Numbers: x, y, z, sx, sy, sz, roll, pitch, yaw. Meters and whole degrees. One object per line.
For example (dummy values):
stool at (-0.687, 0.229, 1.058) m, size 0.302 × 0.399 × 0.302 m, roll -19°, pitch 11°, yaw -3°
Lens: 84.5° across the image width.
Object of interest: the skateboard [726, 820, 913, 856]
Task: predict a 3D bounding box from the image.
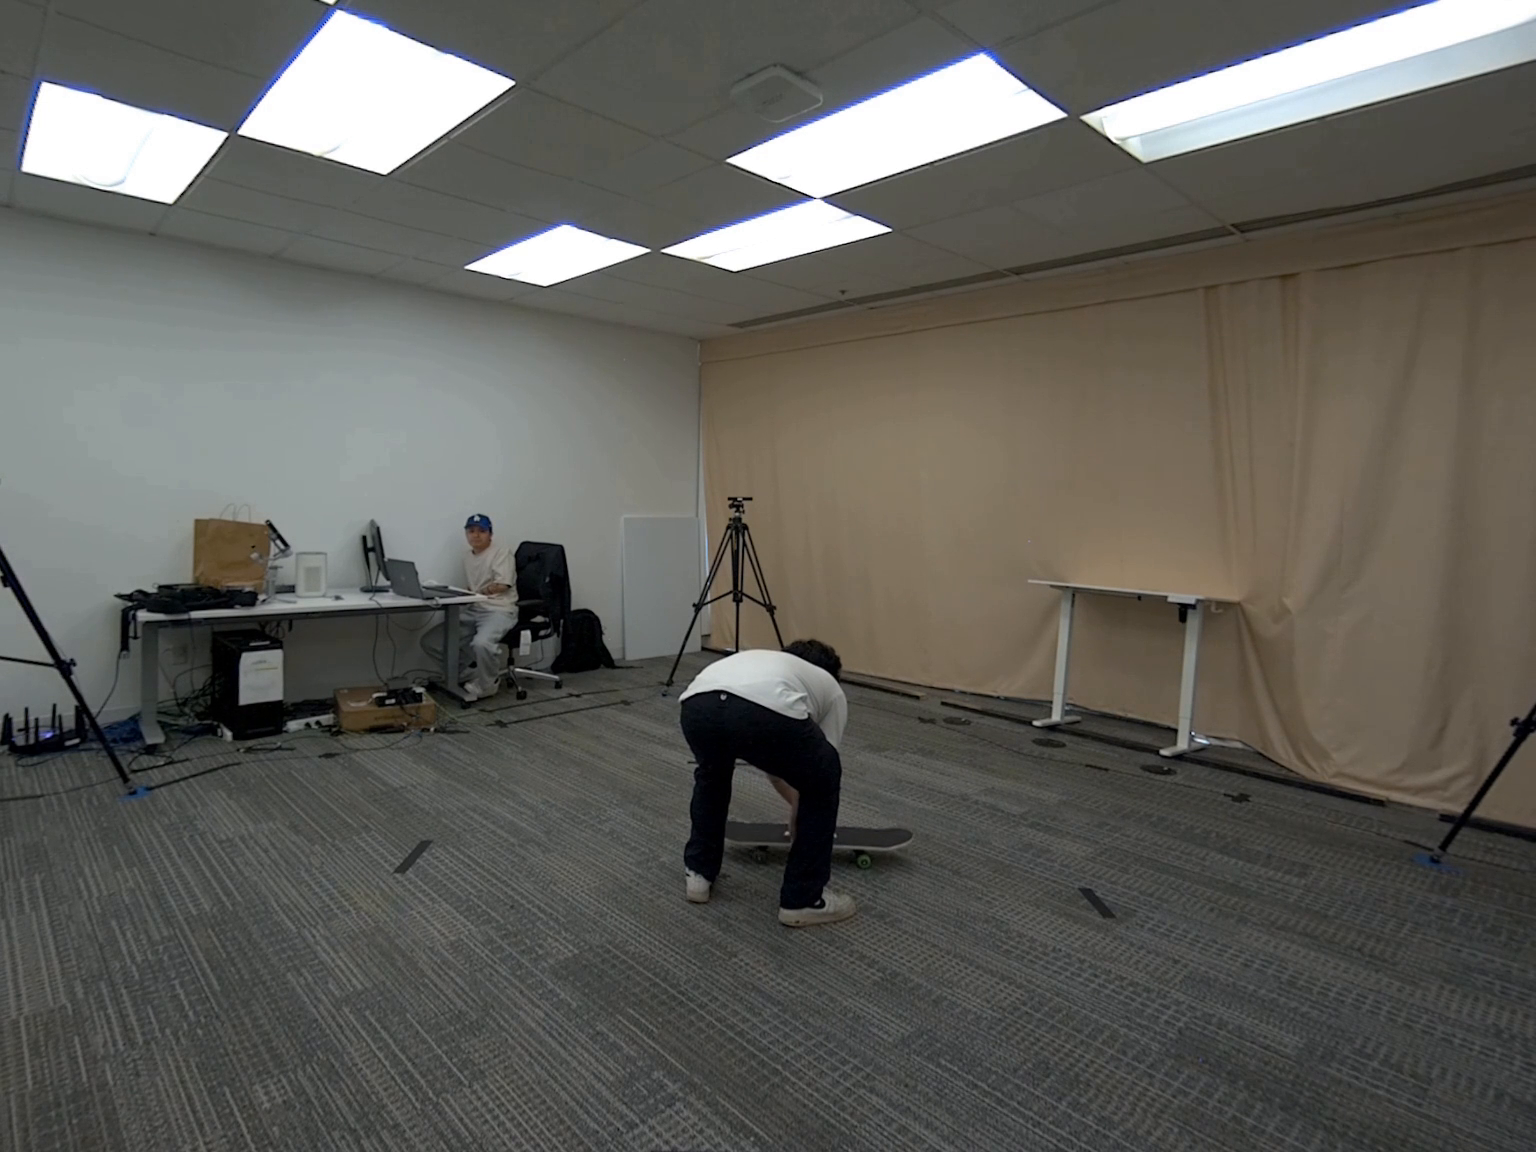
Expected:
skateboard at (0.157, 1.039, 3.289) m, size 0.788 × 0.110 × 0.193 m, roll 1°, pitch 5°, yaw 4°
